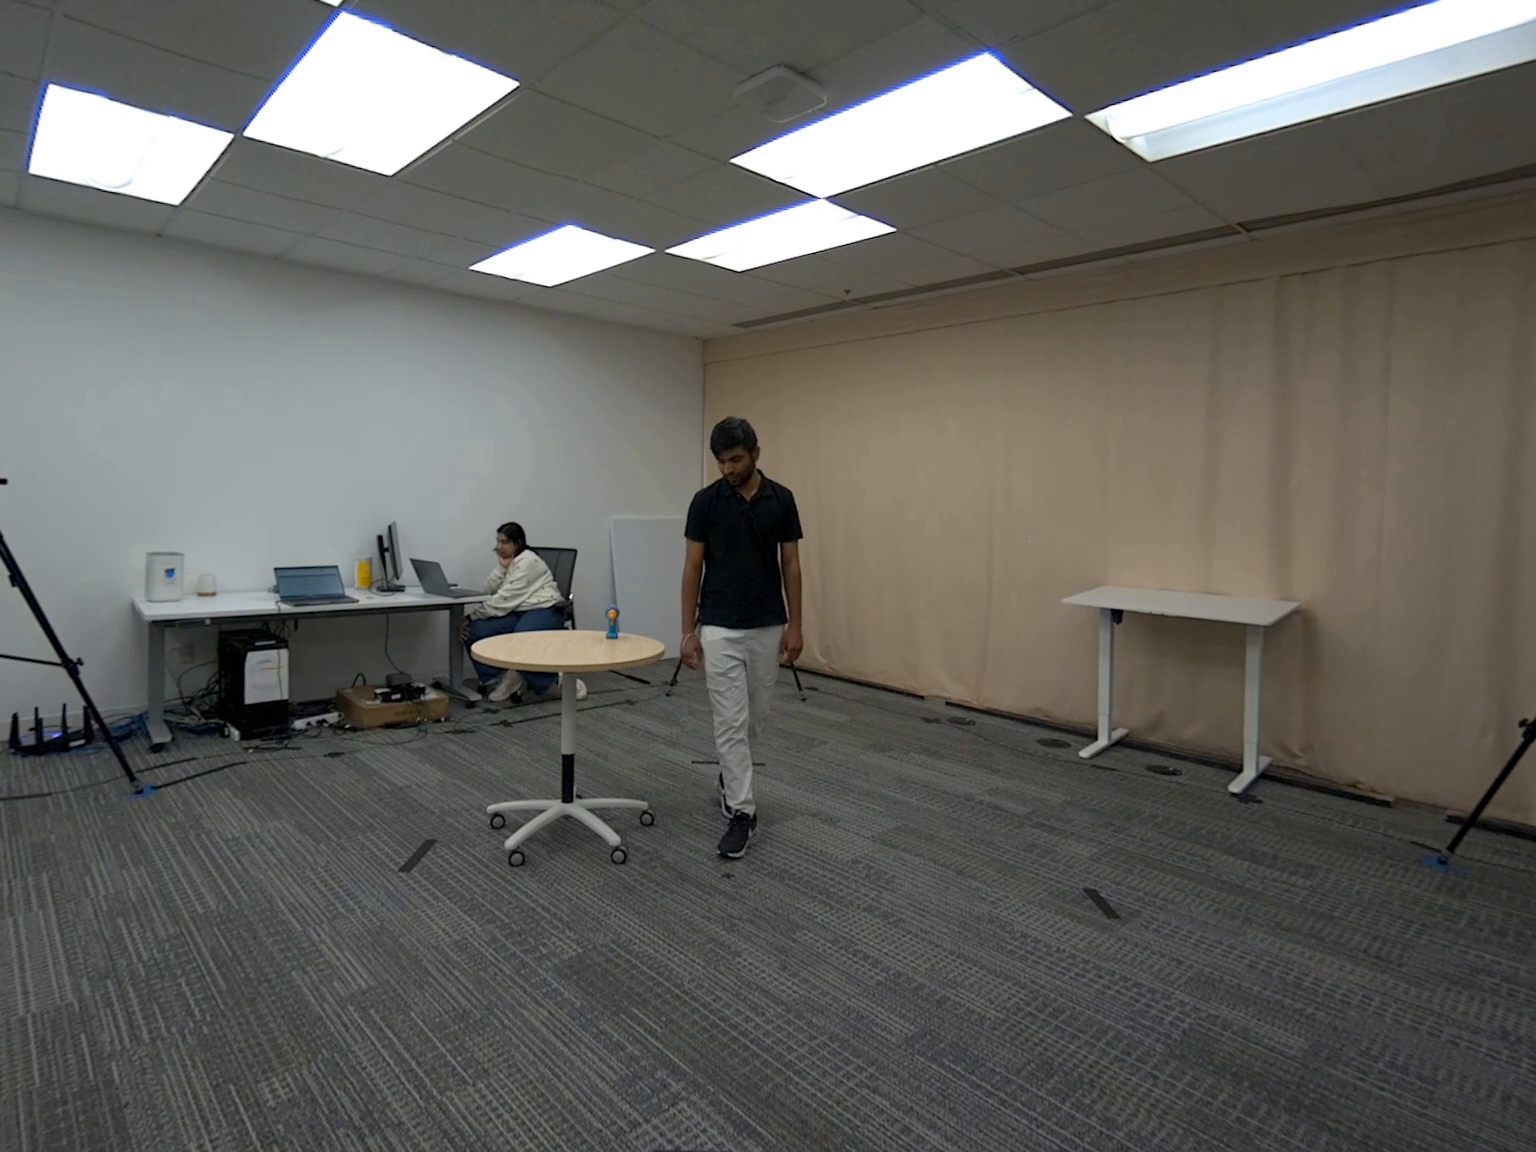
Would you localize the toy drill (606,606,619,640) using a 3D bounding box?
[{"bbox_3d":[-0.663,0.195,3.568,0.061,0.146,0.171,2,4,-9],"label":"toy drill"}]
